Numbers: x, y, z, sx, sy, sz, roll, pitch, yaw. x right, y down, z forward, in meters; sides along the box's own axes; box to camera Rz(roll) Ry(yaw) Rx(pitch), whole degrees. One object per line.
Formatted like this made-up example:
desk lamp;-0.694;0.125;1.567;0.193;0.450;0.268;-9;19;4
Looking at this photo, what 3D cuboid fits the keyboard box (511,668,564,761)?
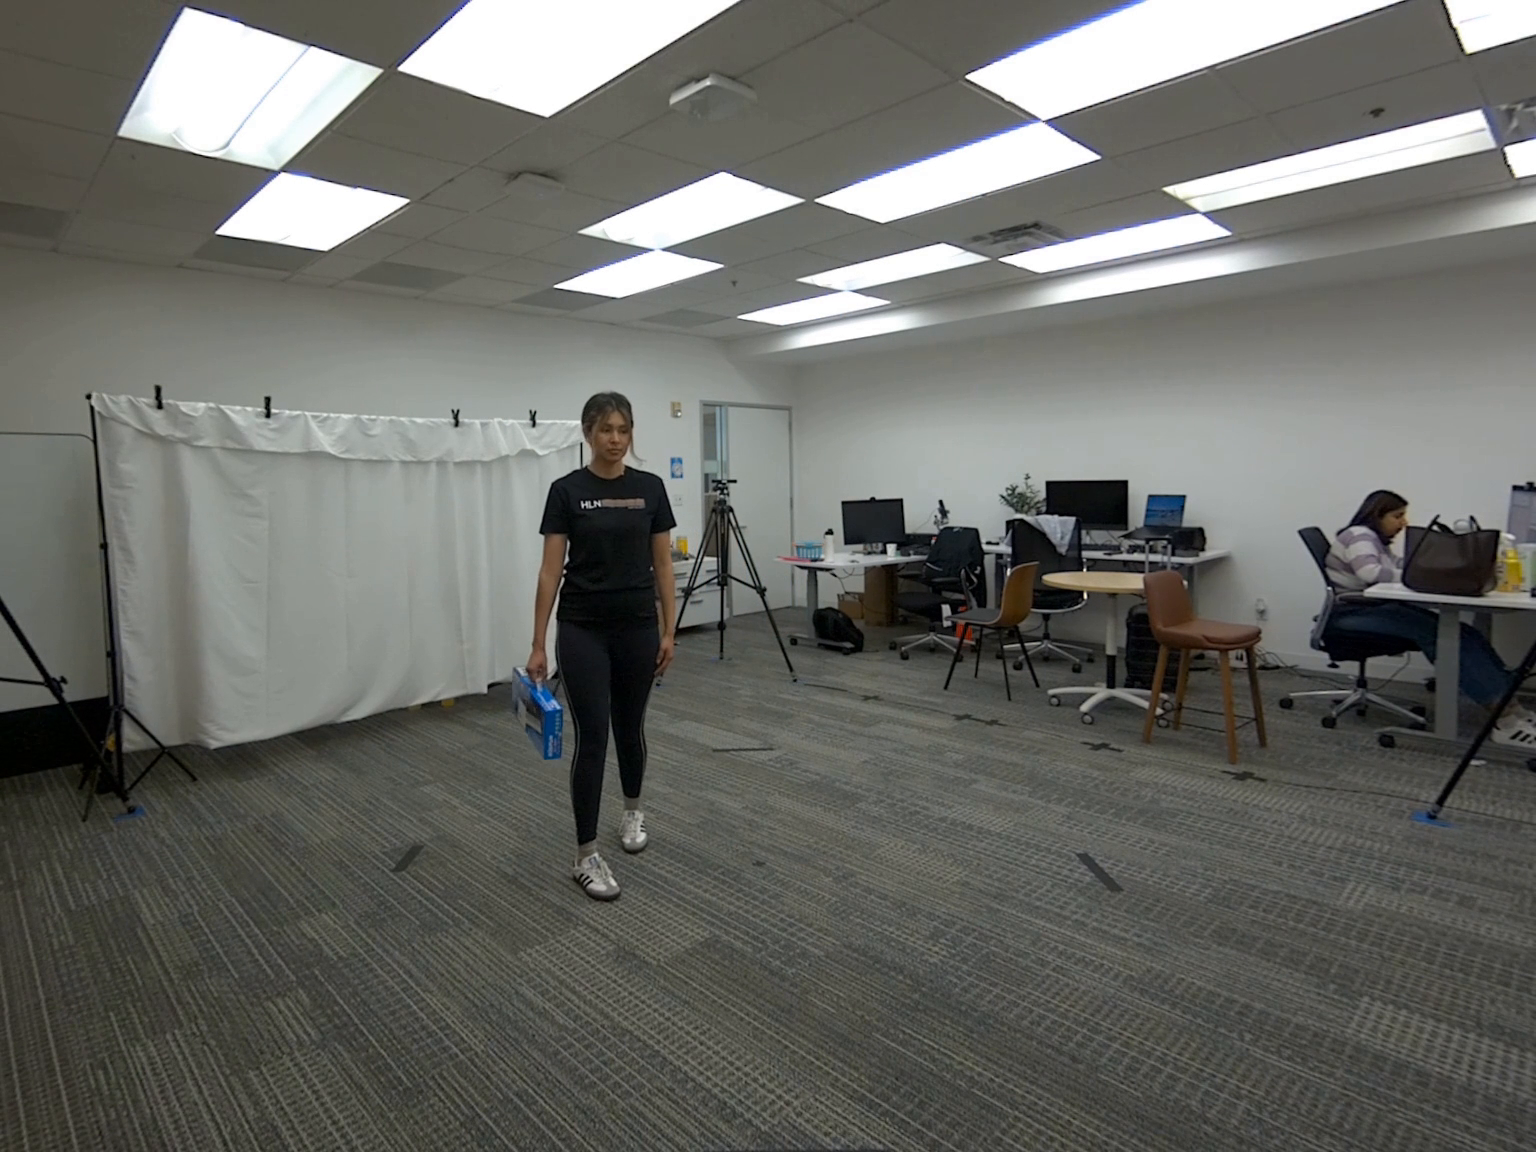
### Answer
keyboard box;-0.802;0.465;2.967;0.058;0.174;0.451;-1;14;-28
